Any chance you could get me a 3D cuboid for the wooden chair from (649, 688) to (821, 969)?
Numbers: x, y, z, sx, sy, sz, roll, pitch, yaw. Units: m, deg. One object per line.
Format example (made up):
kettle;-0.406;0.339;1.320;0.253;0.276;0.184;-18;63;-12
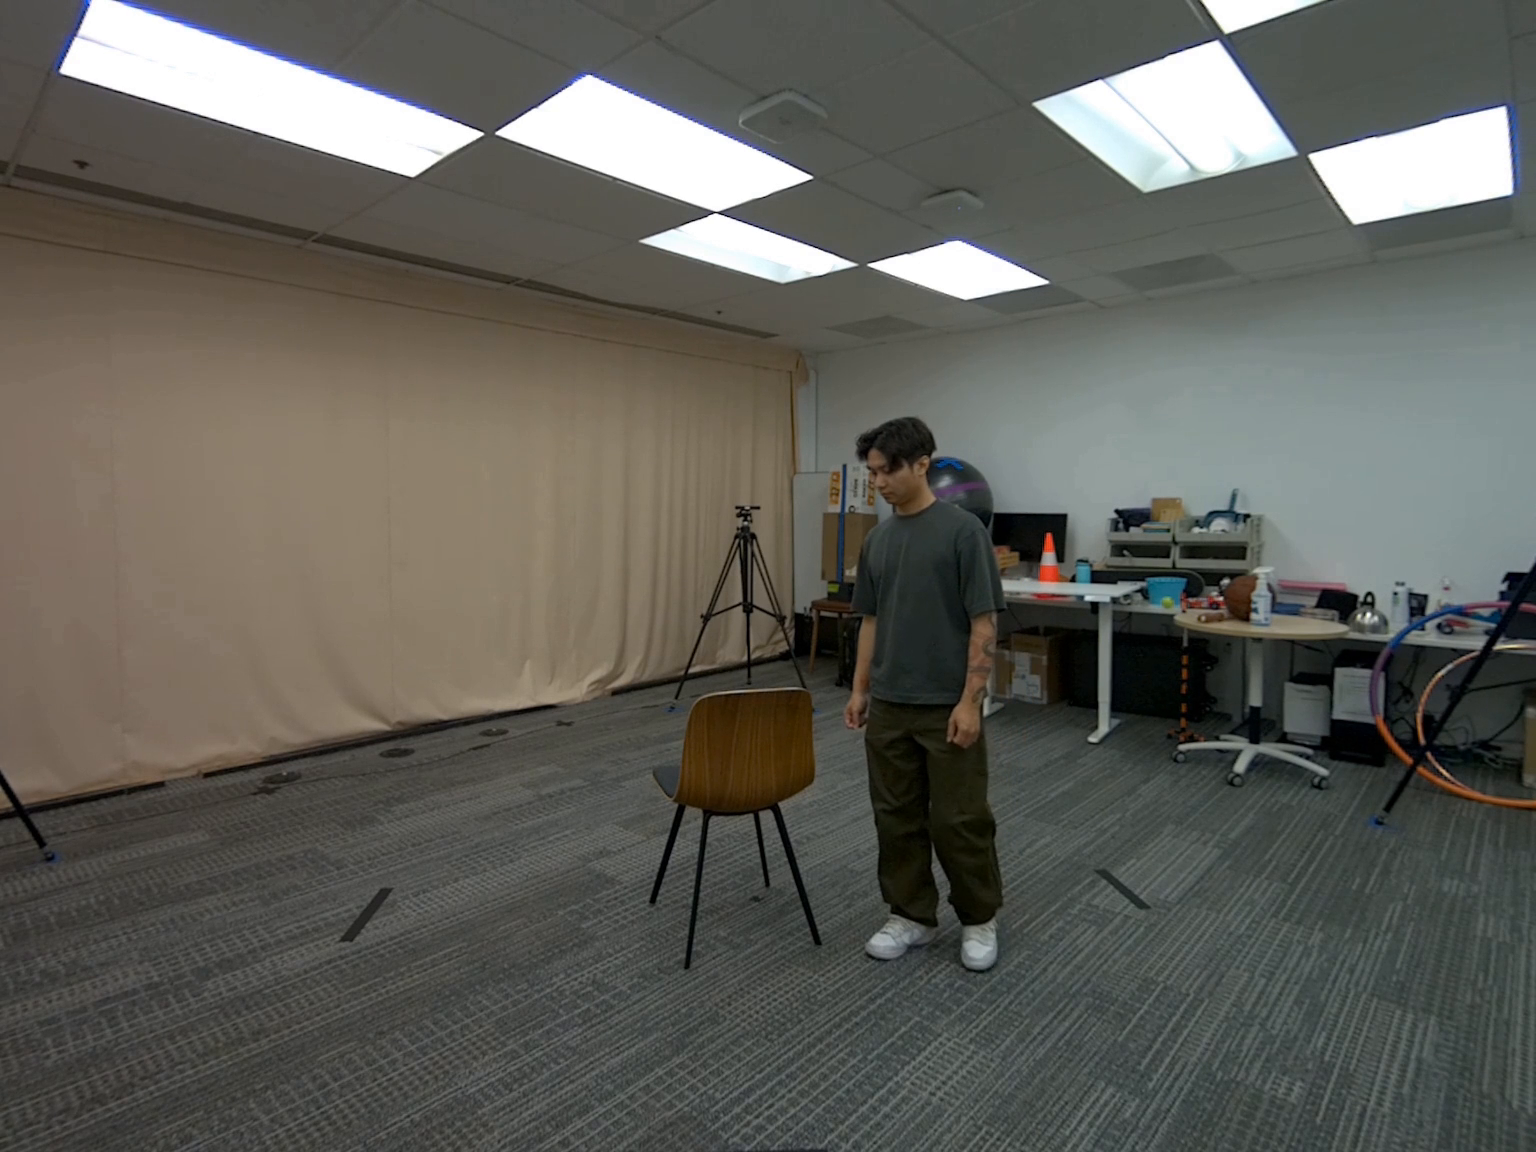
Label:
wooden chair;-0.125;0.735;2.789;0.469;0.873;0.536;-2;8;-20
